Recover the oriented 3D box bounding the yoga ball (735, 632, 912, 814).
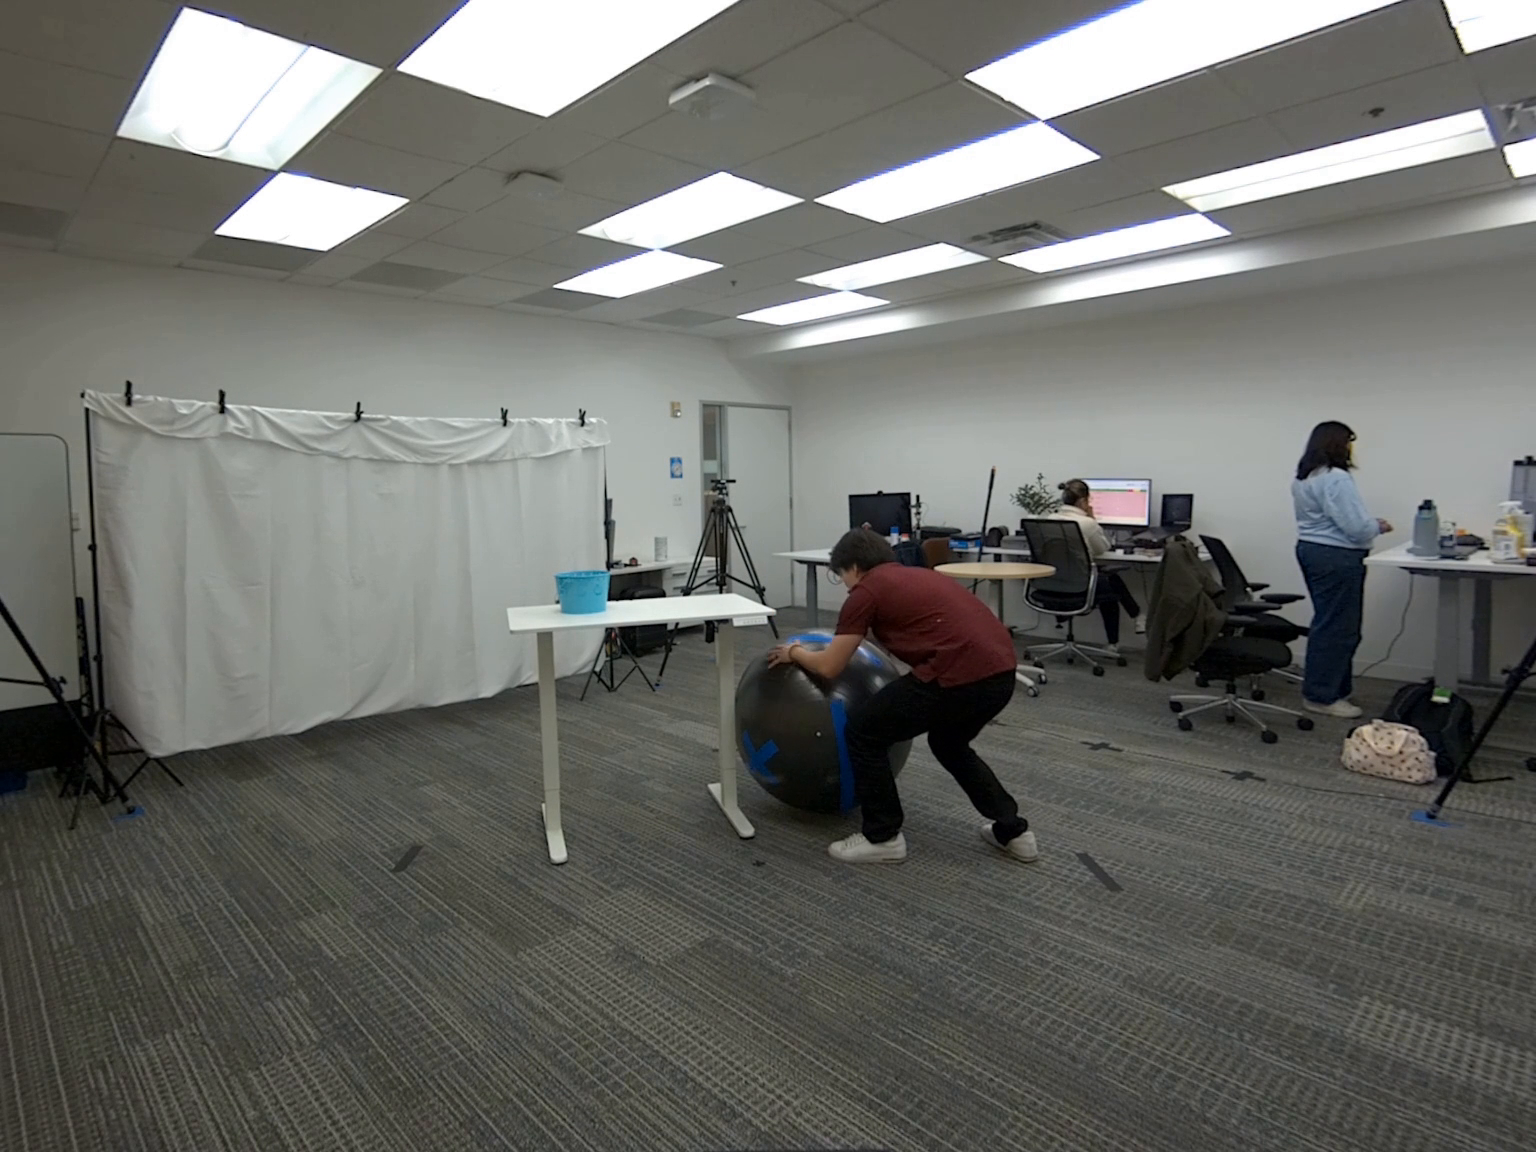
[{"bbox_3d":[0.230,0.606,3.609,0.757,0.755,0.762,-1,5,-2],"label":"yoga ball"}]
